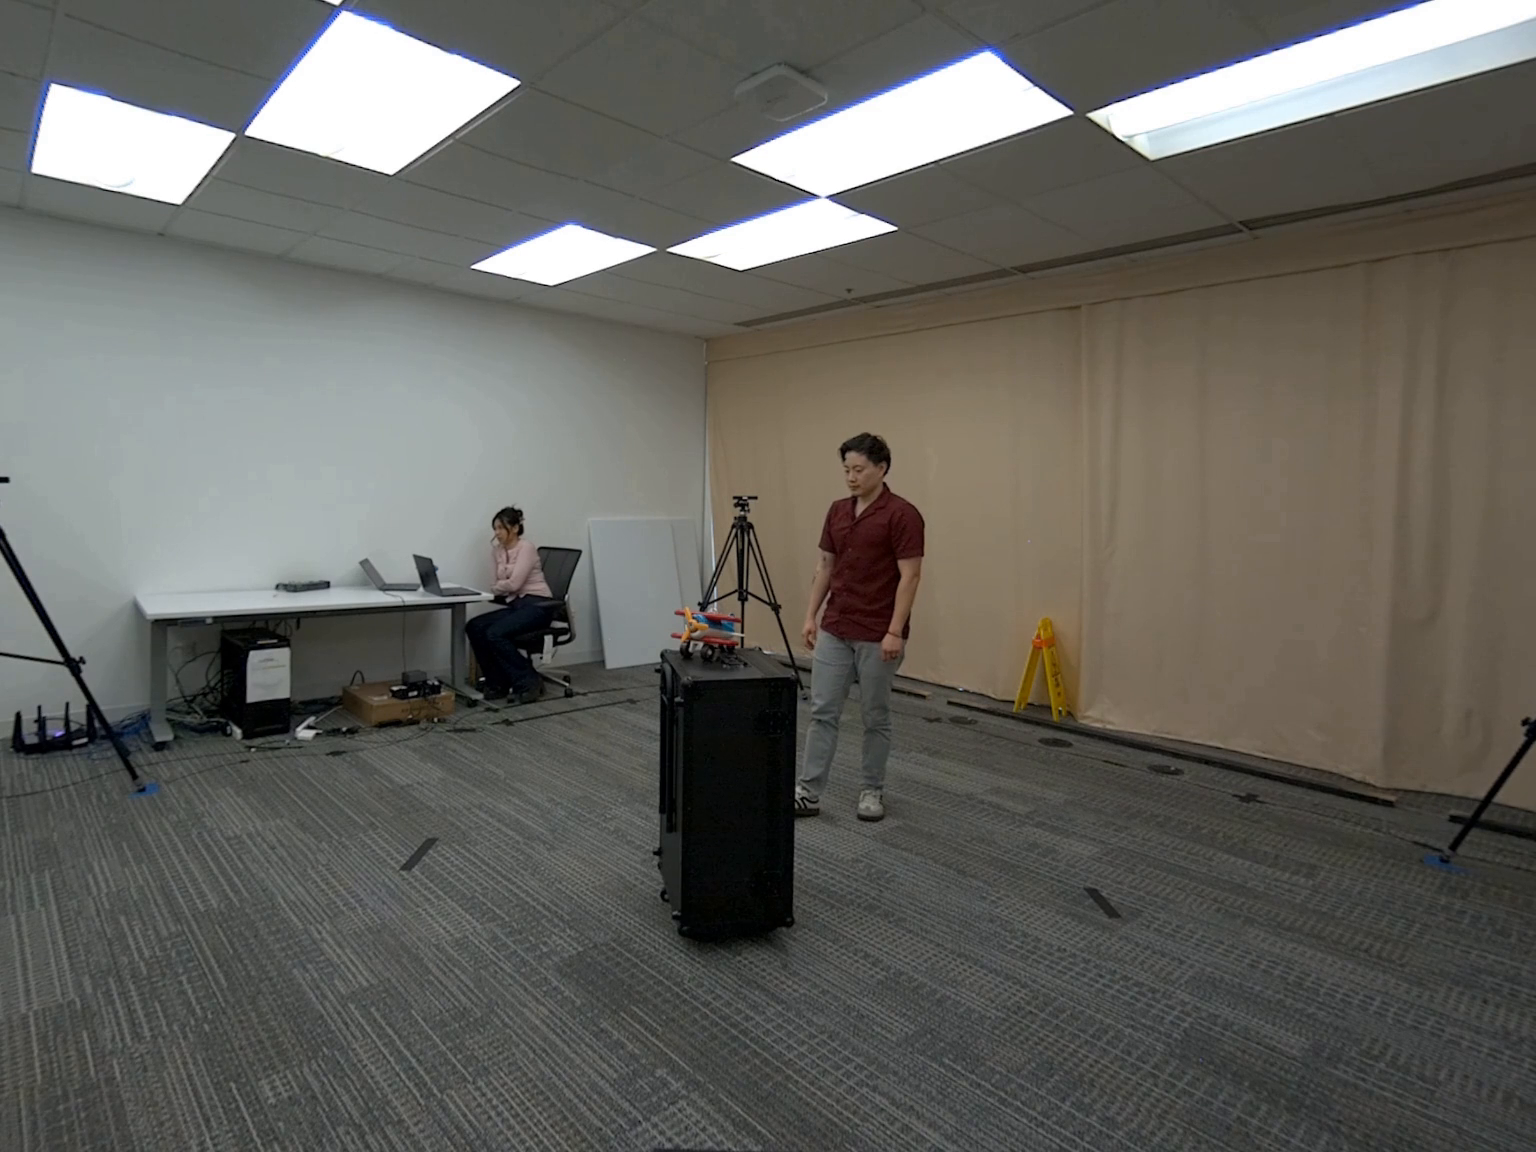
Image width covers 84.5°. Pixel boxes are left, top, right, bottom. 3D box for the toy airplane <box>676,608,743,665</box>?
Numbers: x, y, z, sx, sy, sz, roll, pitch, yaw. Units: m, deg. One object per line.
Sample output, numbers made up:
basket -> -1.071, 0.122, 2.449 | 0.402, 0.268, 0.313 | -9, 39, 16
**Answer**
toy airplane -> -0.216, 0.190, 2.891 | 0.252, 0.156, 0.259 | 2, 6, 4
